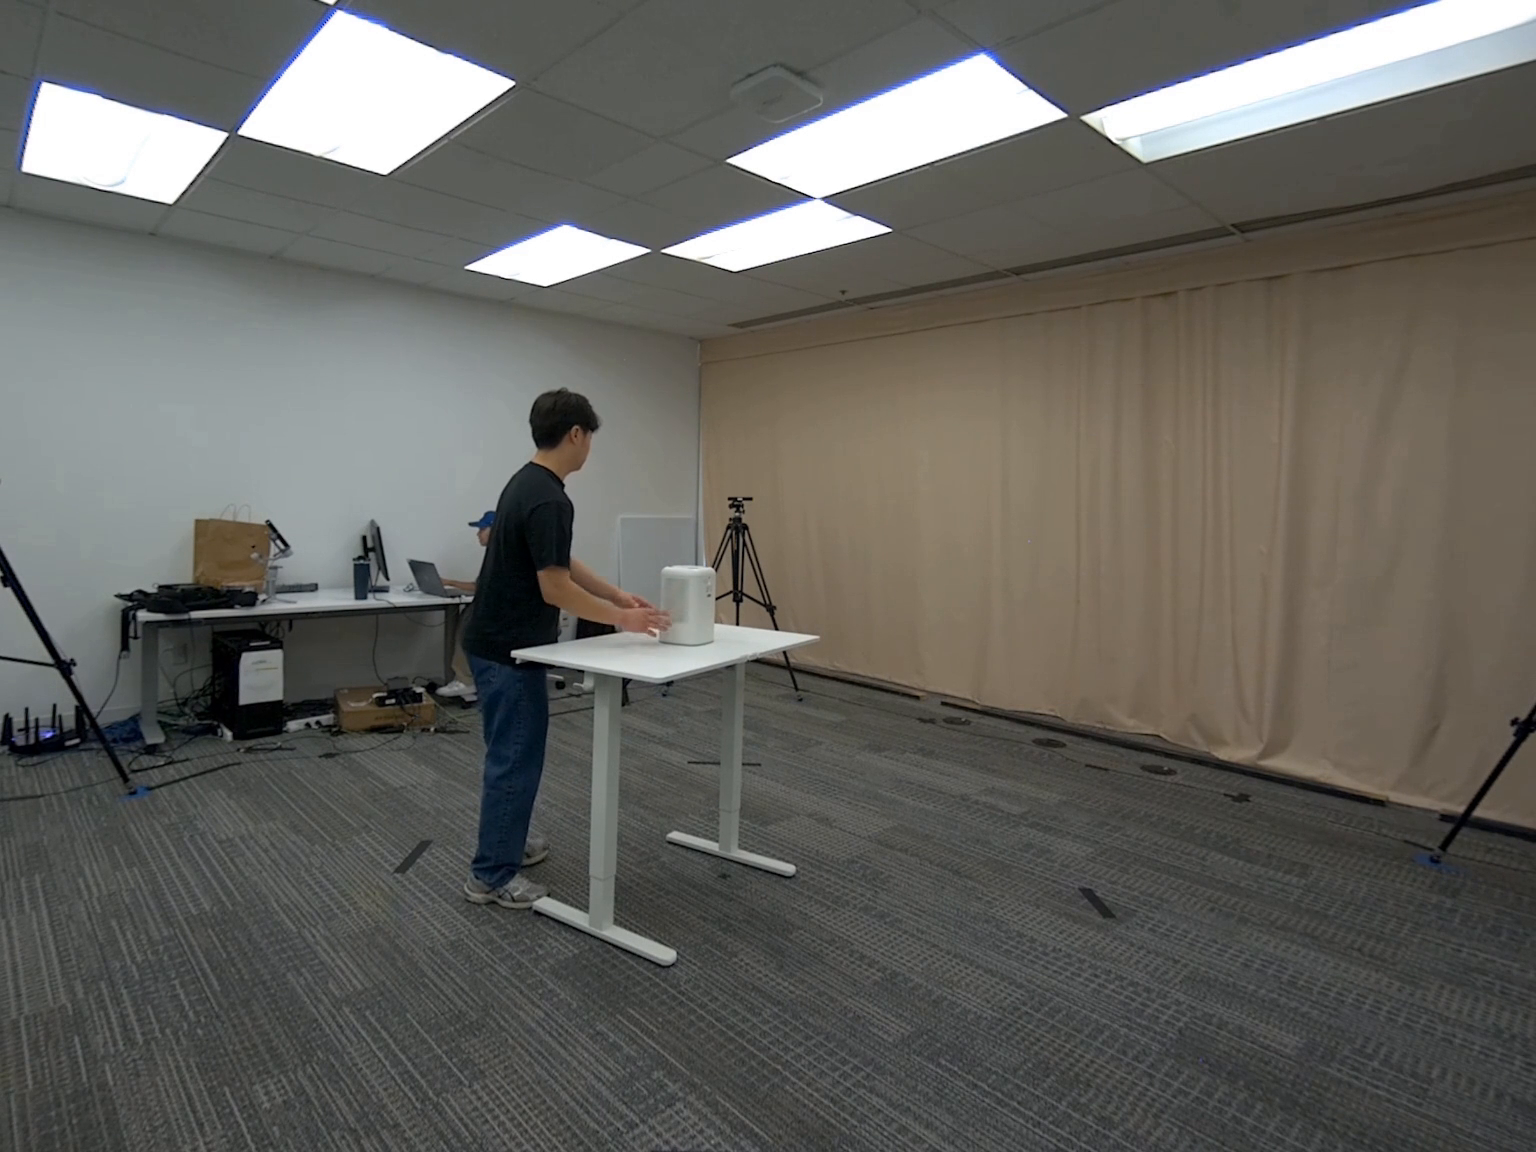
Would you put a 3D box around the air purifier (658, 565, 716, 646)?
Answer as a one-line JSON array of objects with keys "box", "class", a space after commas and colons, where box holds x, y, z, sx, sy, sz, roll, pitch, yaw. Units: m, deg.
[{"box": [-0.297, 0.099, 2.972, 0.175, 0.265, 0.168, 4, 4, 25], "class": "air purifier"}]
